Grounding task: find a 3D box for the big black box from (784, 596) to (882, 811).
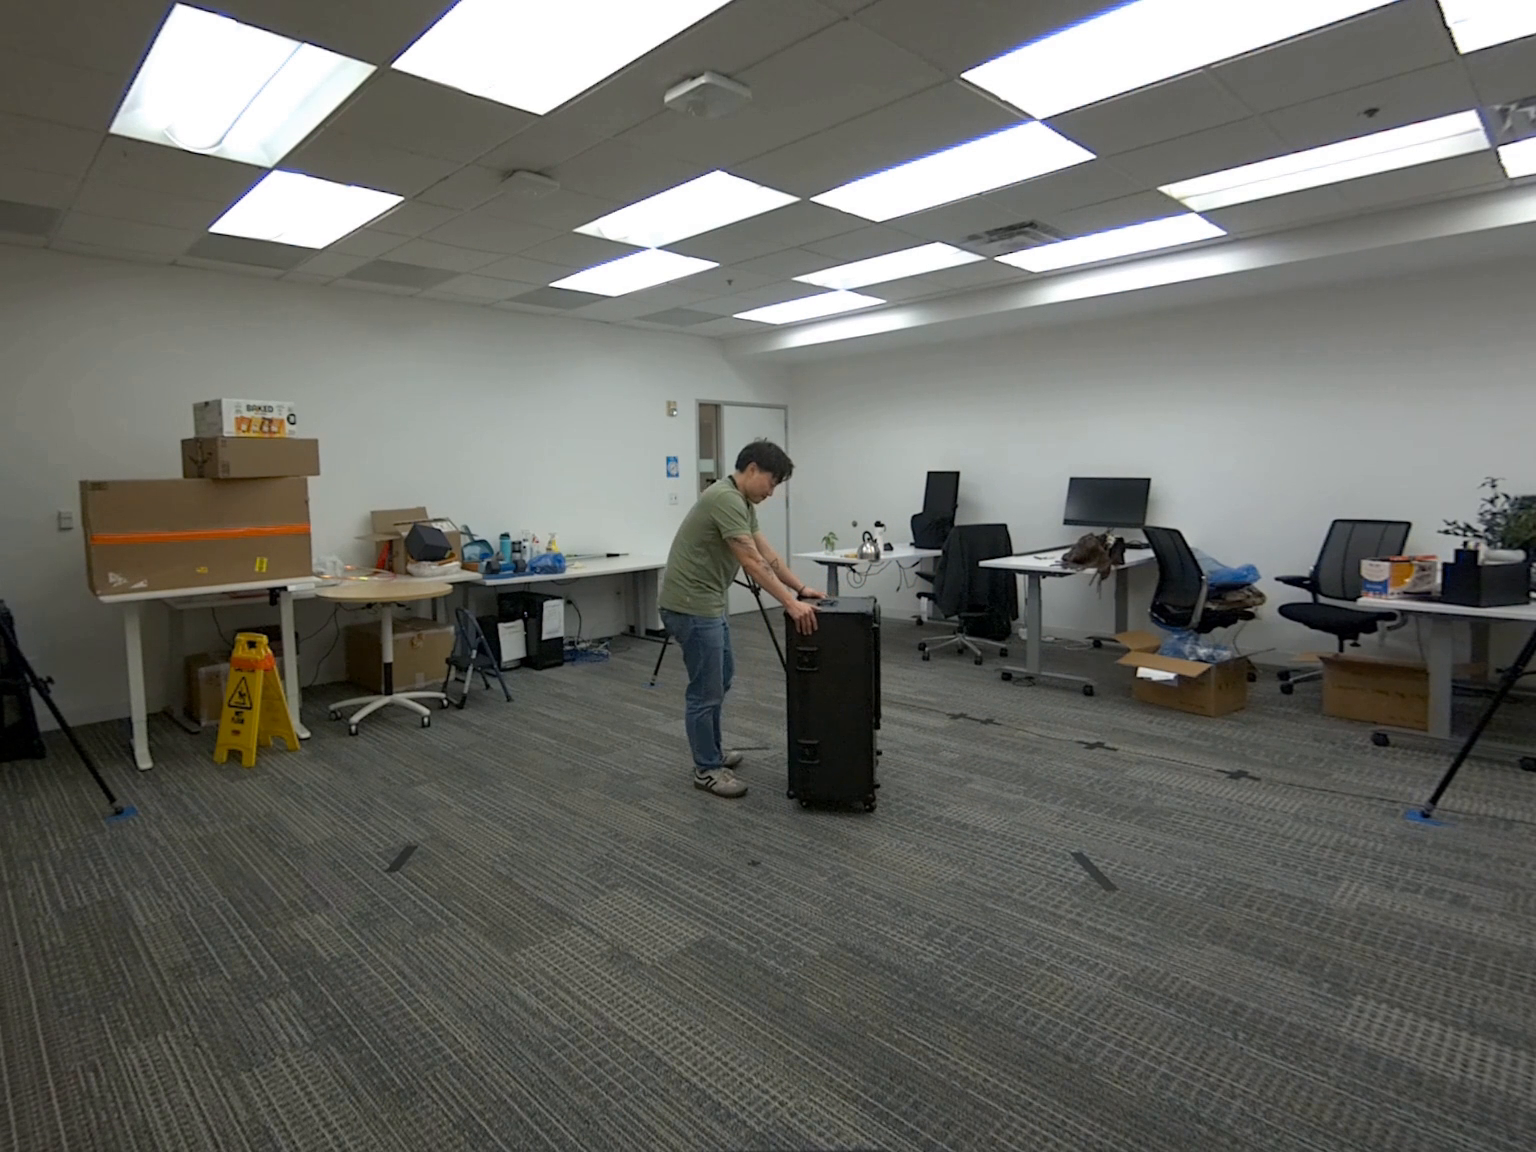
[{"bbox_3d":[0.301,0.547,3.721,0.401,0.859,0.517,1,4,11],"label":"big black box"}]
